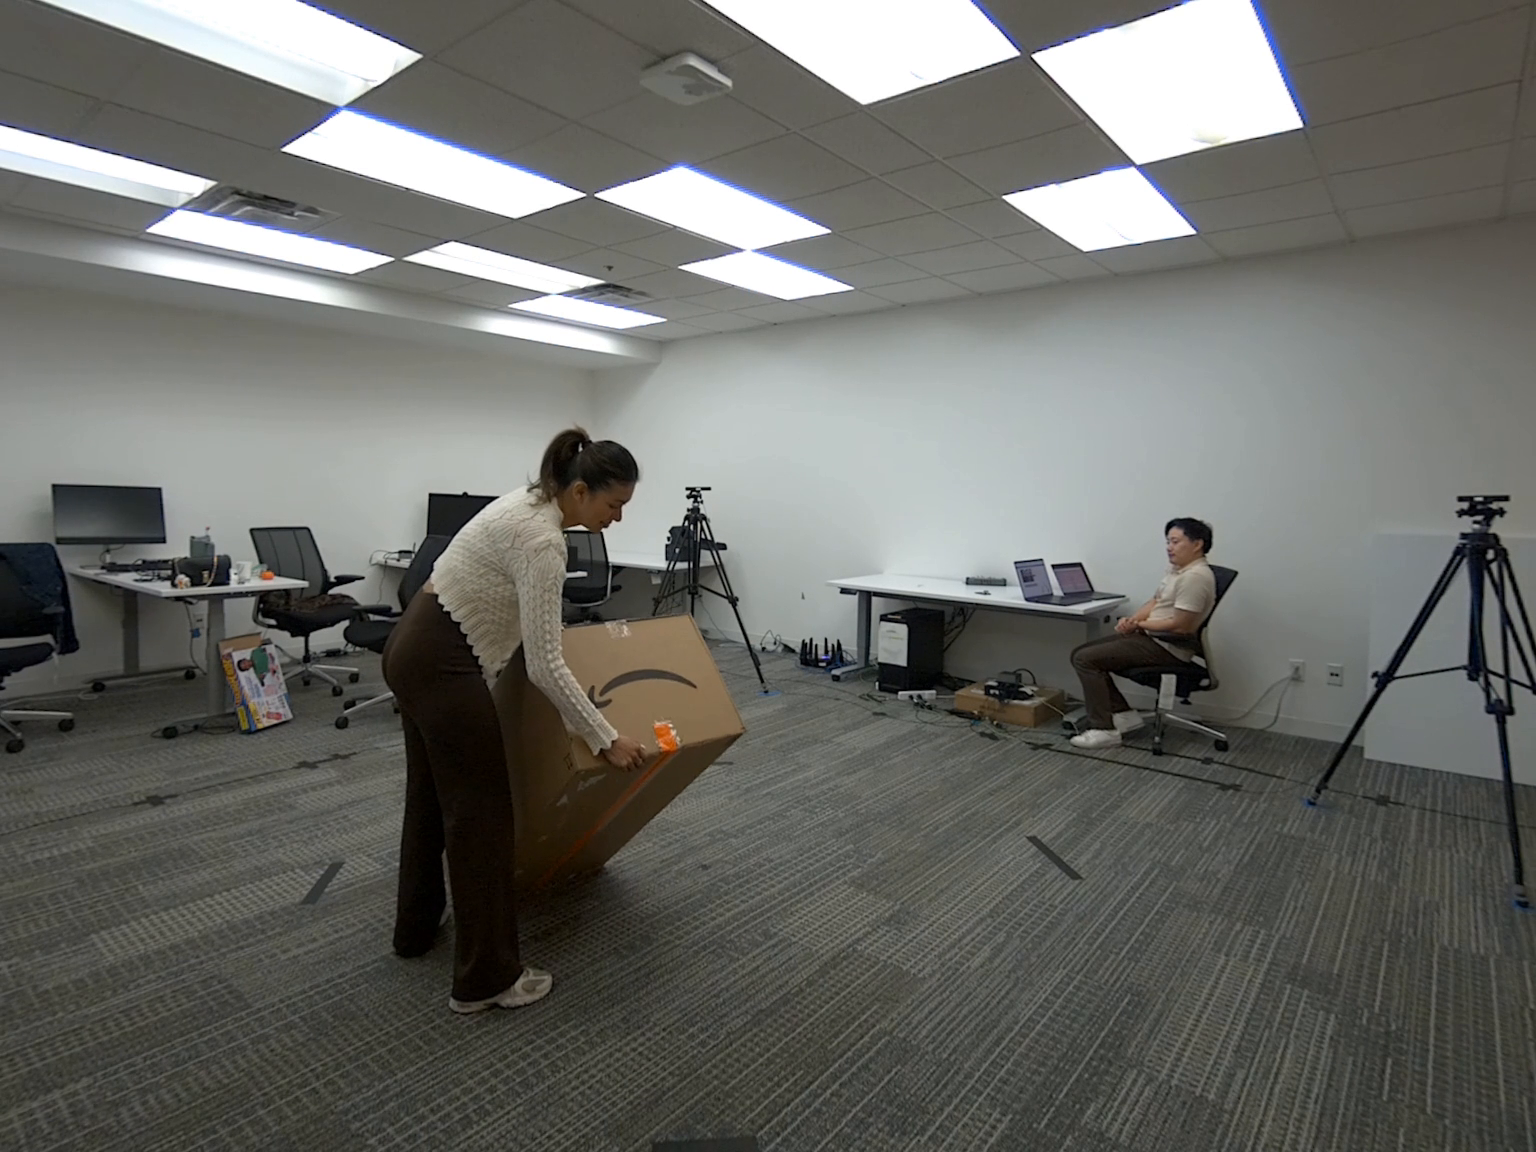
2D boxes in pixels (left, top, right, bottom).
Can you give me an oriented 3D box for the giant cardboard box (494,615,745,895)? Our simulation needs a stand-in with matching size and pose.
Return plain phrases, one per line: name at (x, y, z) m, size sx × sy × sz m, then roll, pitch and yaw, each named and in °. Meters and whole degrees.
giant cardboard box at (-0.637, 0.603, 2.726) m, size 0.560 × 0.440 × 1.023 m, roll -2°, pitch -35°, yaw -42°
